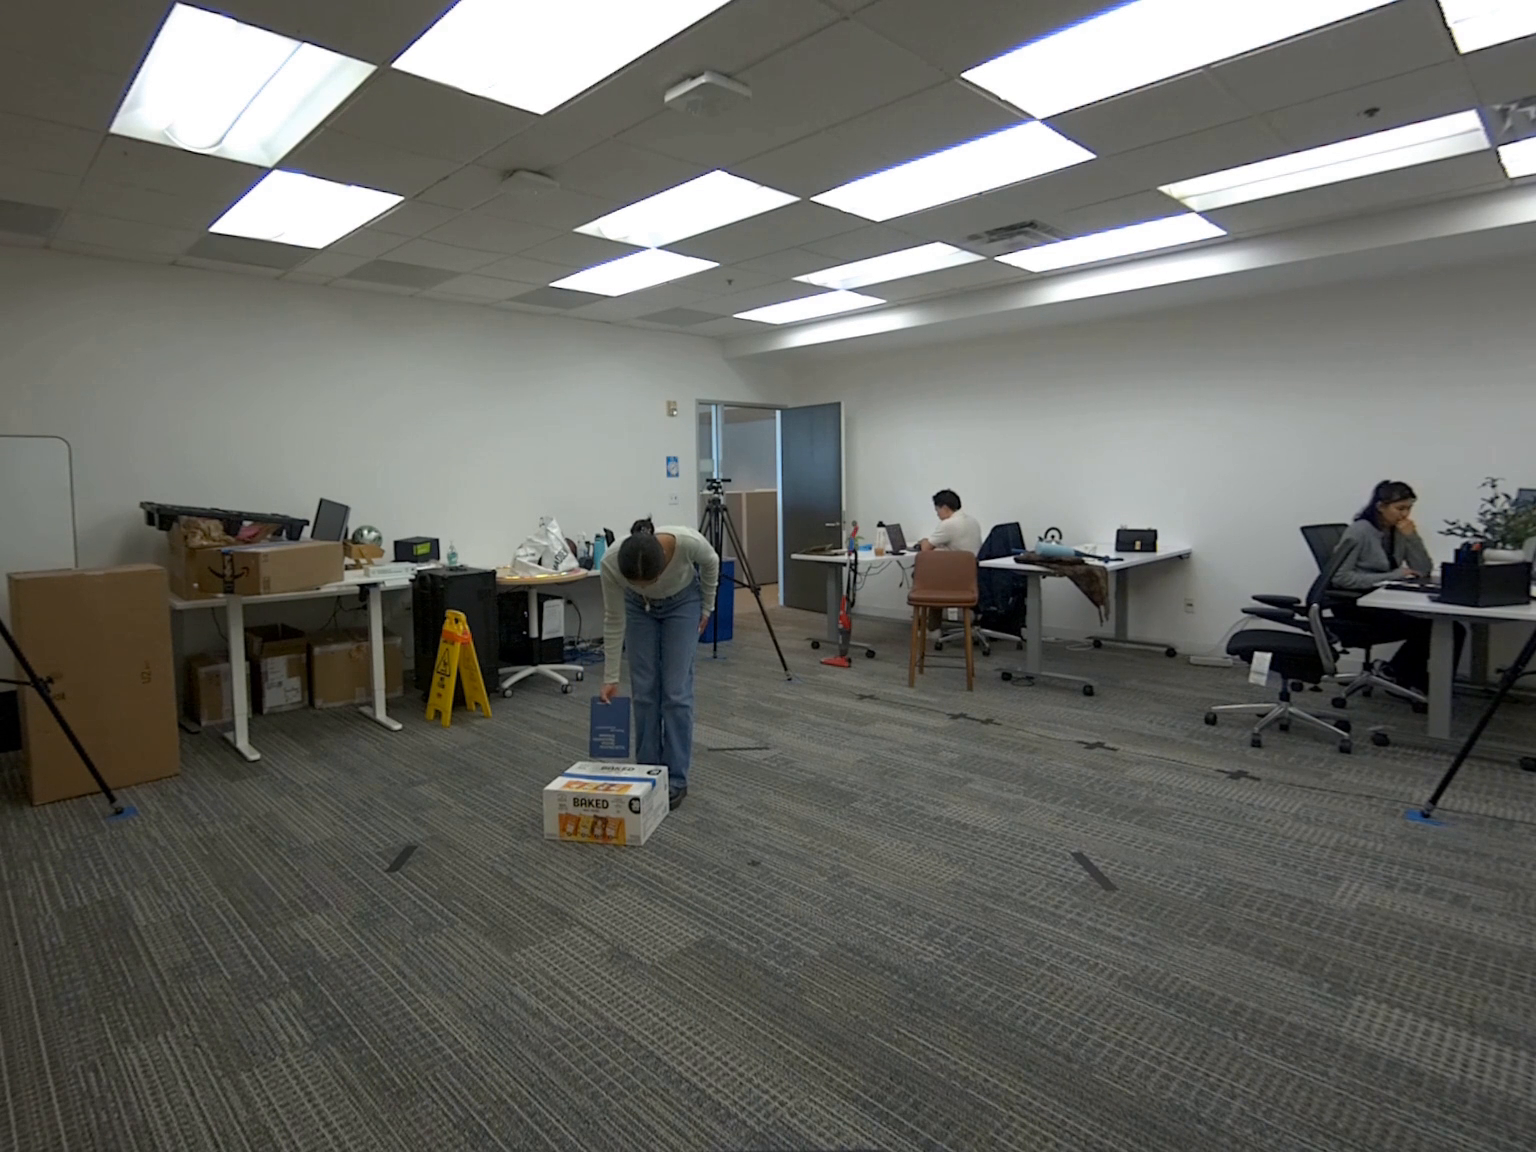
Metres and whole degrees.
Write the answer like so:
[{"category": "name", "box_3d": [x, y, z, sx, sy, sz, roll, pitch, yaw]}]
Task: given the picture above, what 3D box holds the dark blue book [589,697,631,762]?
[{"category": "dark blue book", "box_3d": [-0.659, 0.630, 3.556, 0.162, 0.249, 0.045, 2, -18, -9]}]
